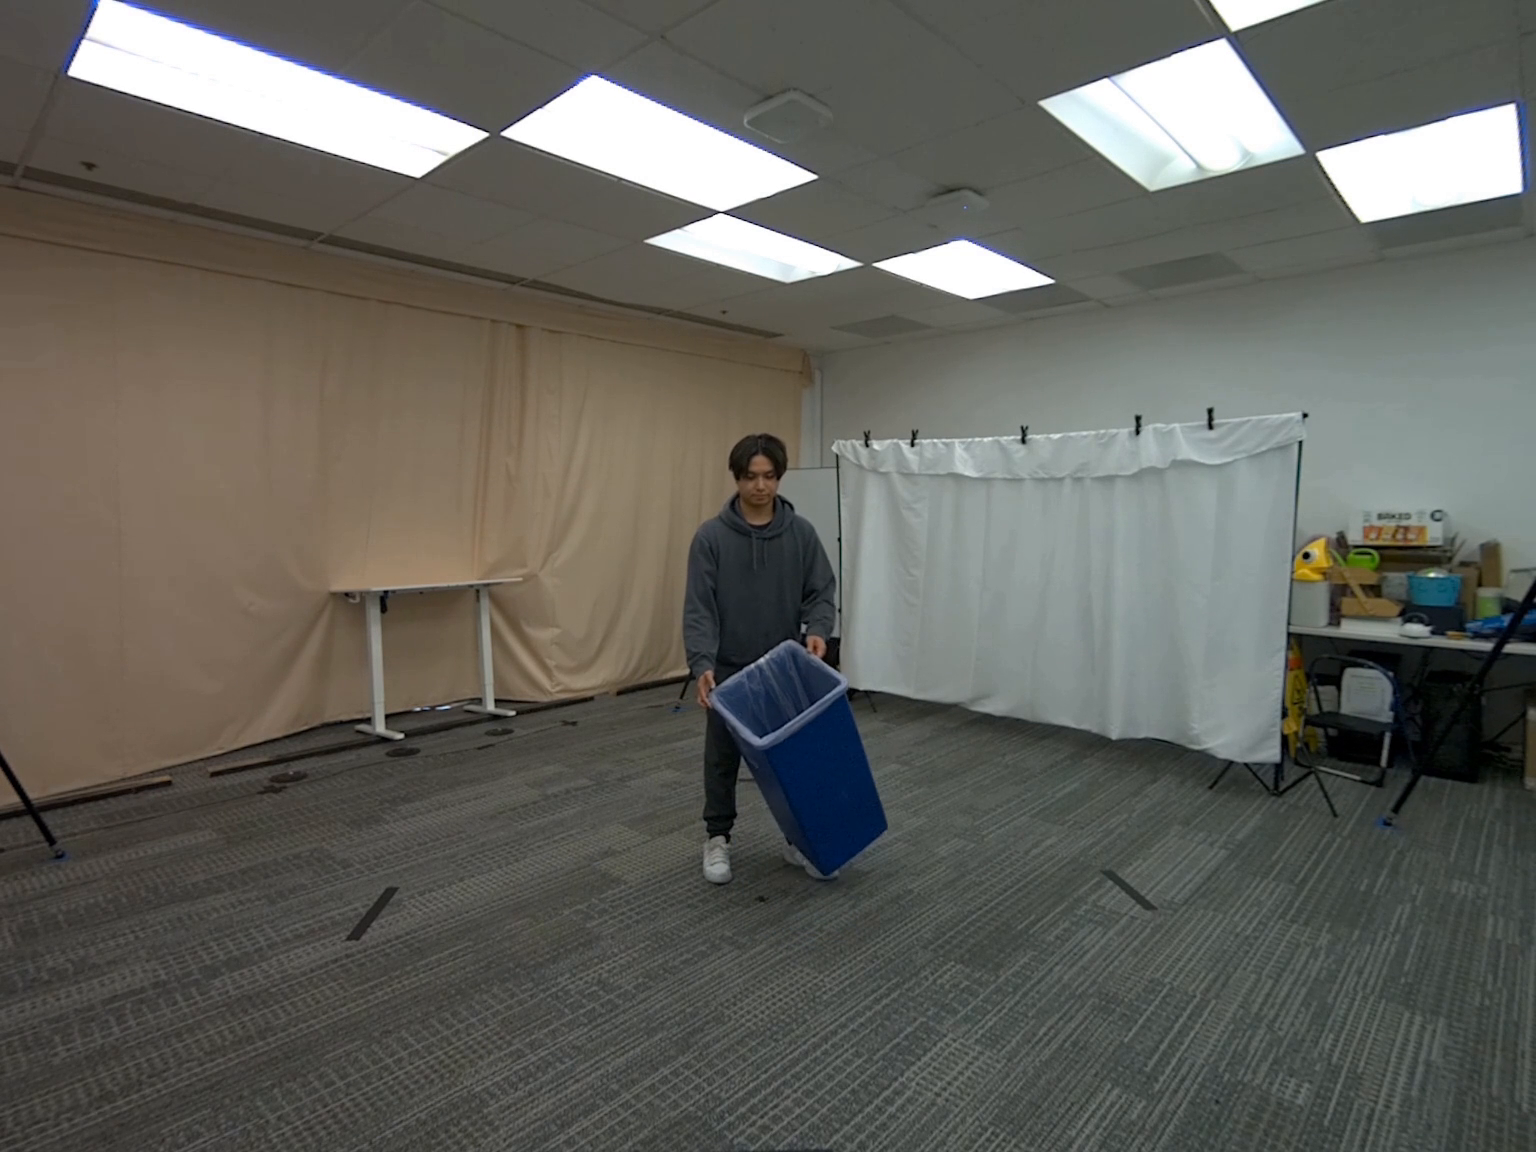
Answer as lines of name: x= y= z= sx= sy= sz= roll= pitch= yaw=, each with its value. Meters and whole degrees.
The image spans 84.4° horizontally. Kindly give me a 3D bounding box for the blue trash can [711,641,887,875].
blue trash can: x=0.141 y=0.653 z=2.939 sx=0.374 sy=0.696 sz=0.387 roll=-32 pitch=30 yaw=-18
